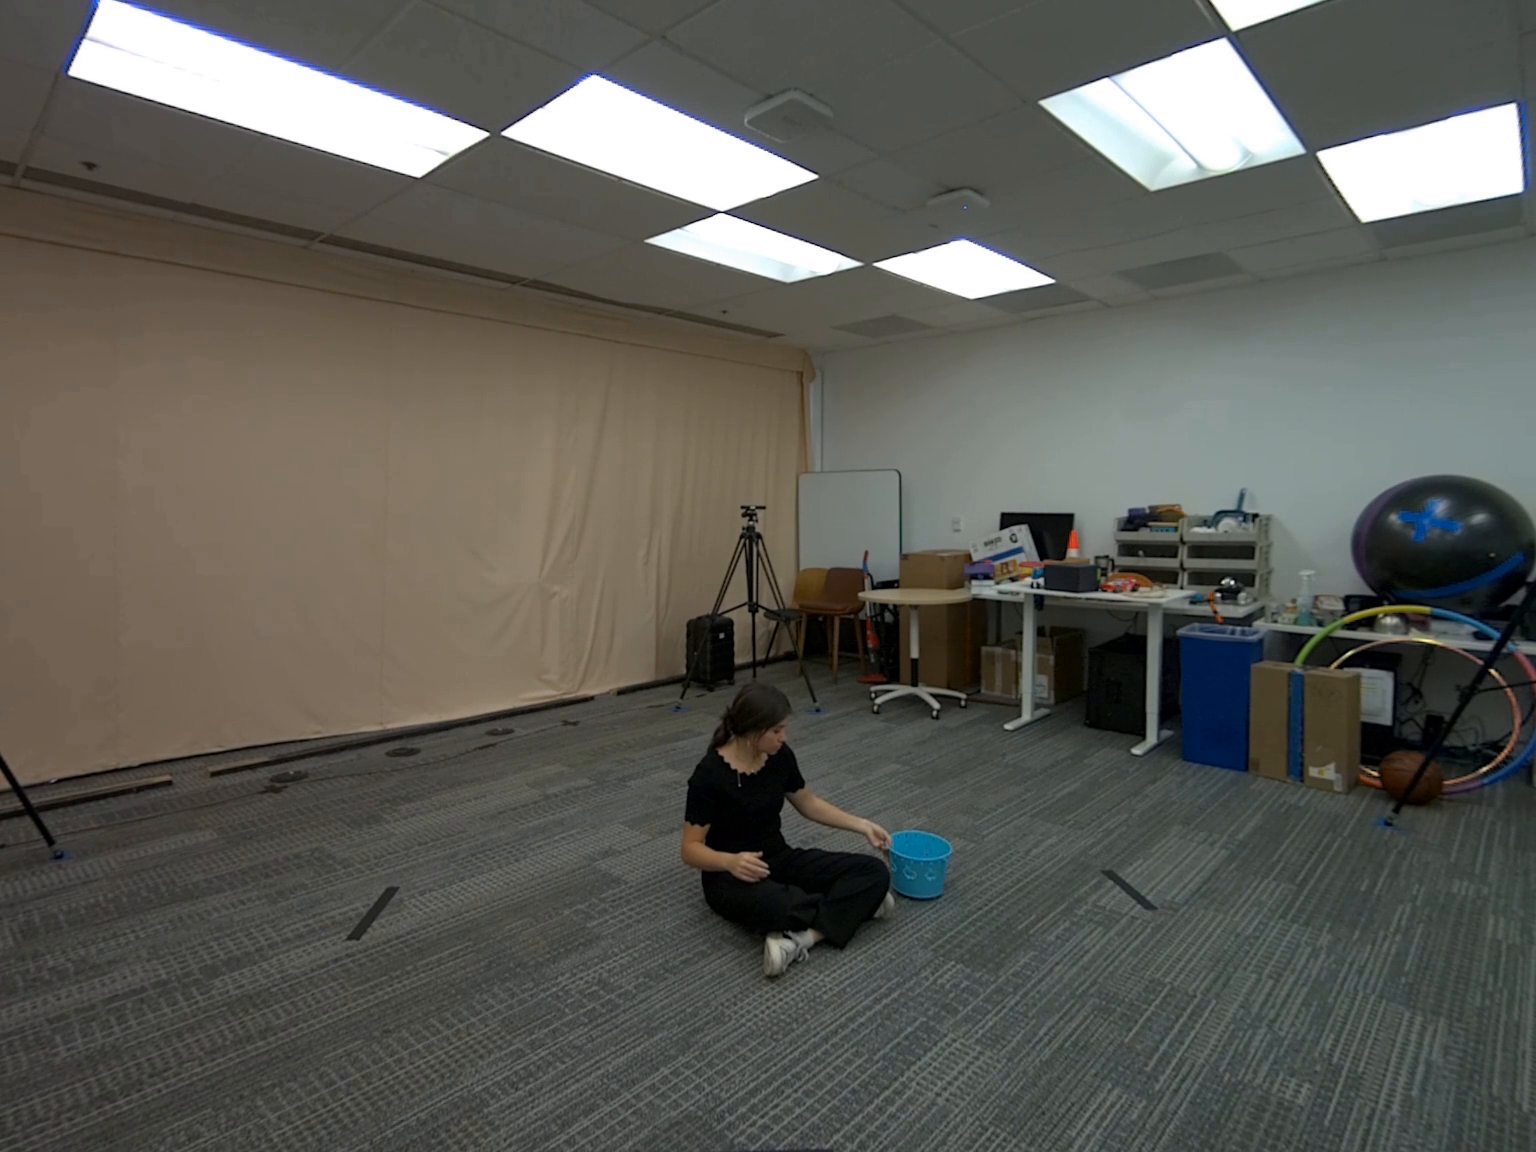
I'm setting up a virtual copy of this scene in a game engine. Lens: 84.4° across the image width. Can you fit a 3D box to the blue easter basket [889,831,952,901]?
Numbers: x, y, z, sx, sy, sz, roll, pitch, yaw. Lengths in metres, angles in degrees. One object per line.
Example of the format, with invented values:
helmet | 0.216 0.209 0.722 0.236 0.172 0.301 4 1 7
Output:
blue easter basket | 0.552 1.042 3.022 0.243 0.155 0.245 1 7 -2
